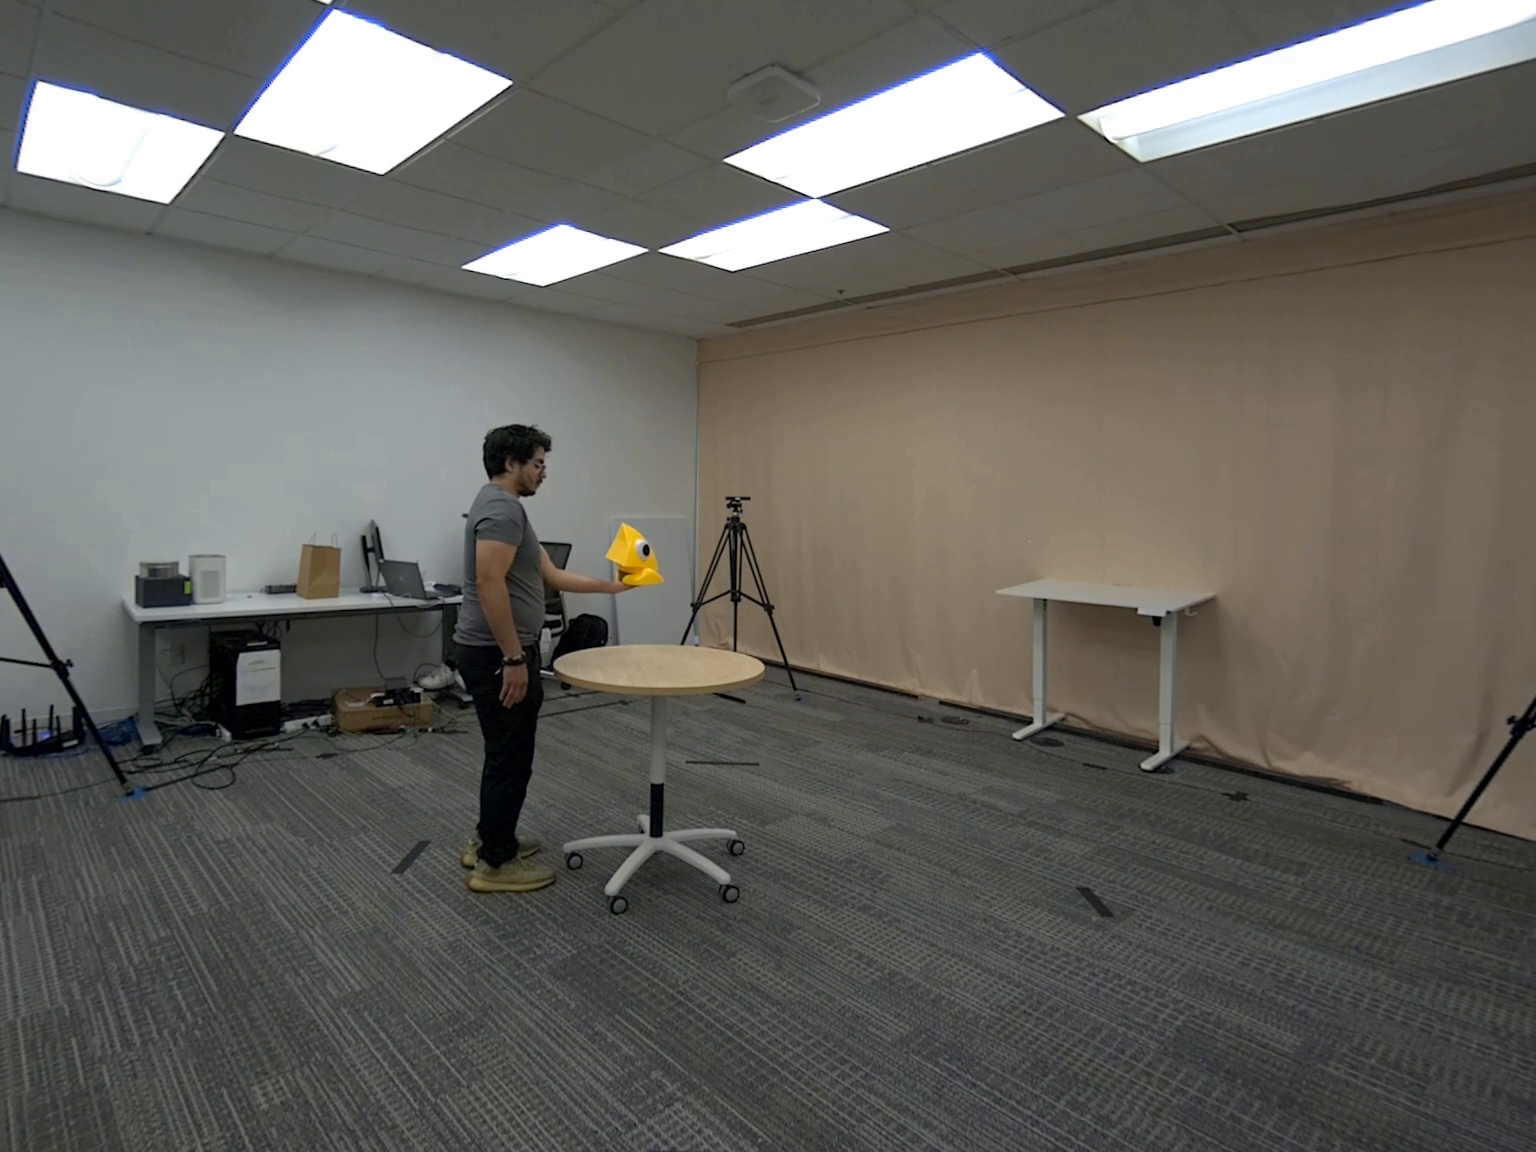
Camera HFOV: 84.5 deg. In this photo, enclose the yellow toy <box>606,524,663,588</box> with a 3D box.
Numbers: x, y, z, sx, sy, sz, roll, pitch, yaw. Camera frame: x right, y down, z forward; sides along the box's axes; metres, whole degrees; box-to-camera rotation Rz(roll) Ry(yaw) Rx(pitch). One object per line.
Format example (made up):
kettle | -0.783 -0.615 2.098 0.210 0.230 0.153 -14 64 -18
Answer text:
yellow toy | -0.529 -0.098 3.318 0.189 0.229 0.210 -4 13 -30
